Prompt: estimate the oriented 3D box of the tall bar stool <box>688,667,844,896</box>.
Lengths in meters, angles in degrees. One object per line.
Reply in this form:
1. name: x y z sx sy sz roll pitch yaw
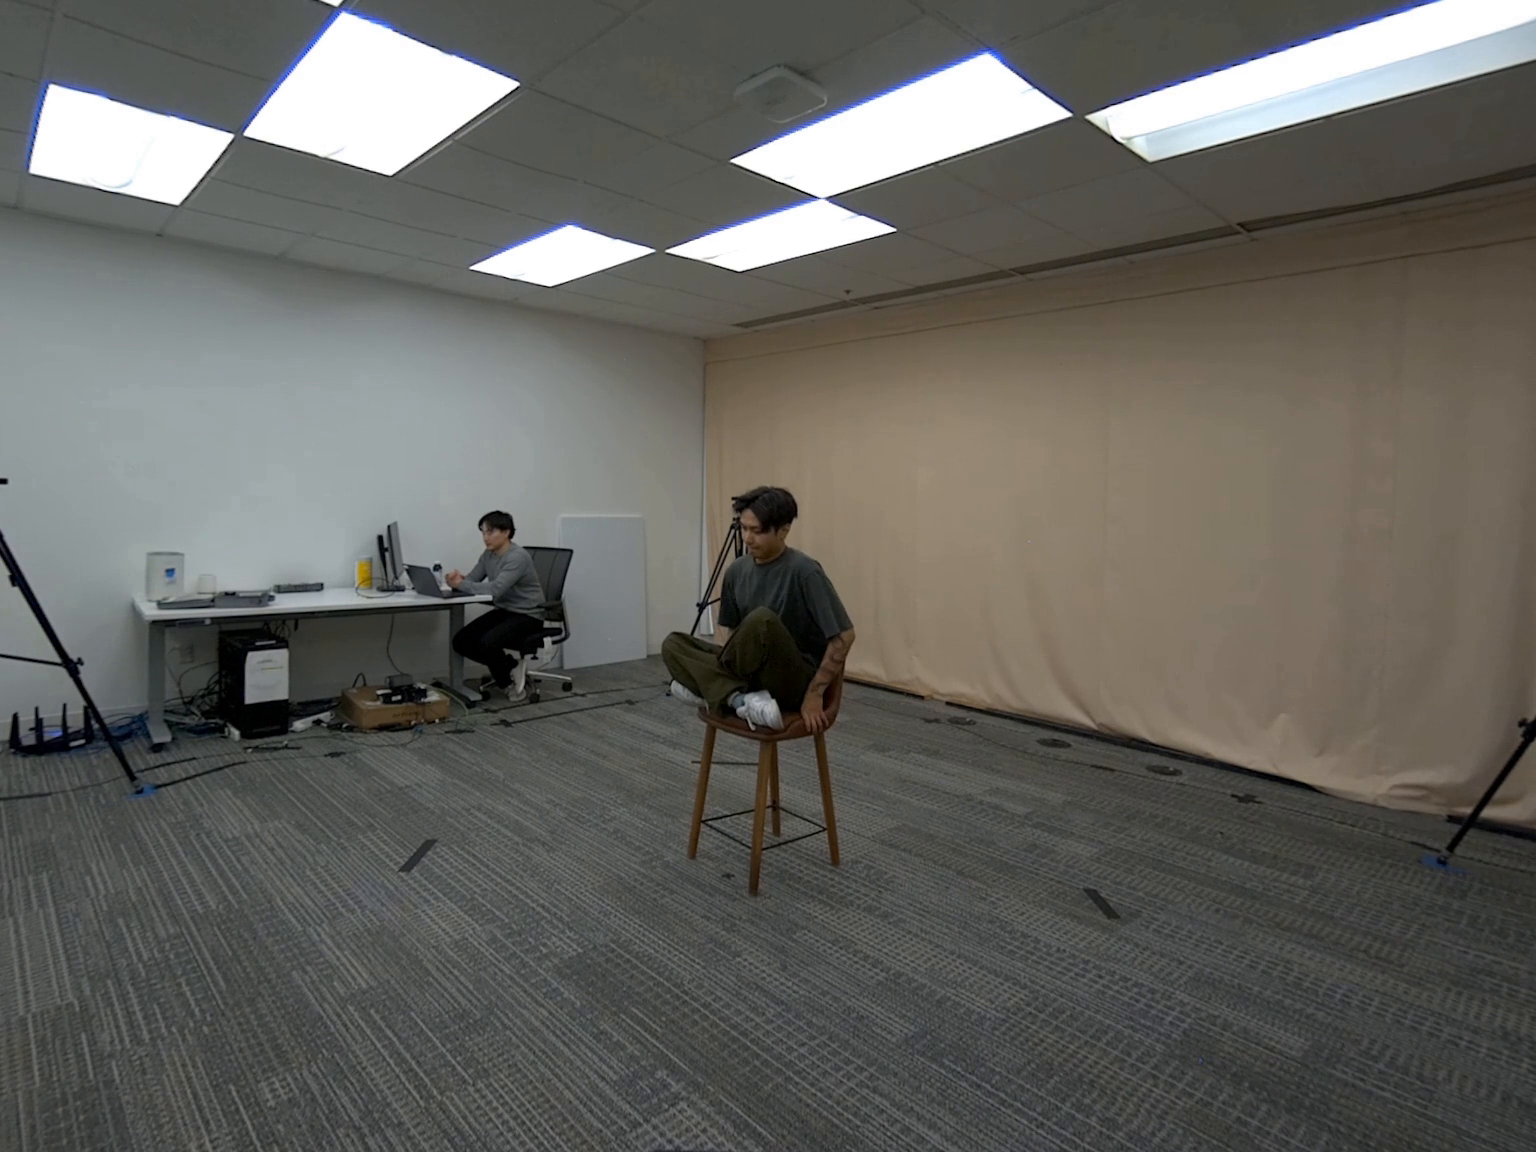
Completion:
1. tall bar stool: -0.001 0.662 3.219 0.456 0.889 0.468 2 2 -39
